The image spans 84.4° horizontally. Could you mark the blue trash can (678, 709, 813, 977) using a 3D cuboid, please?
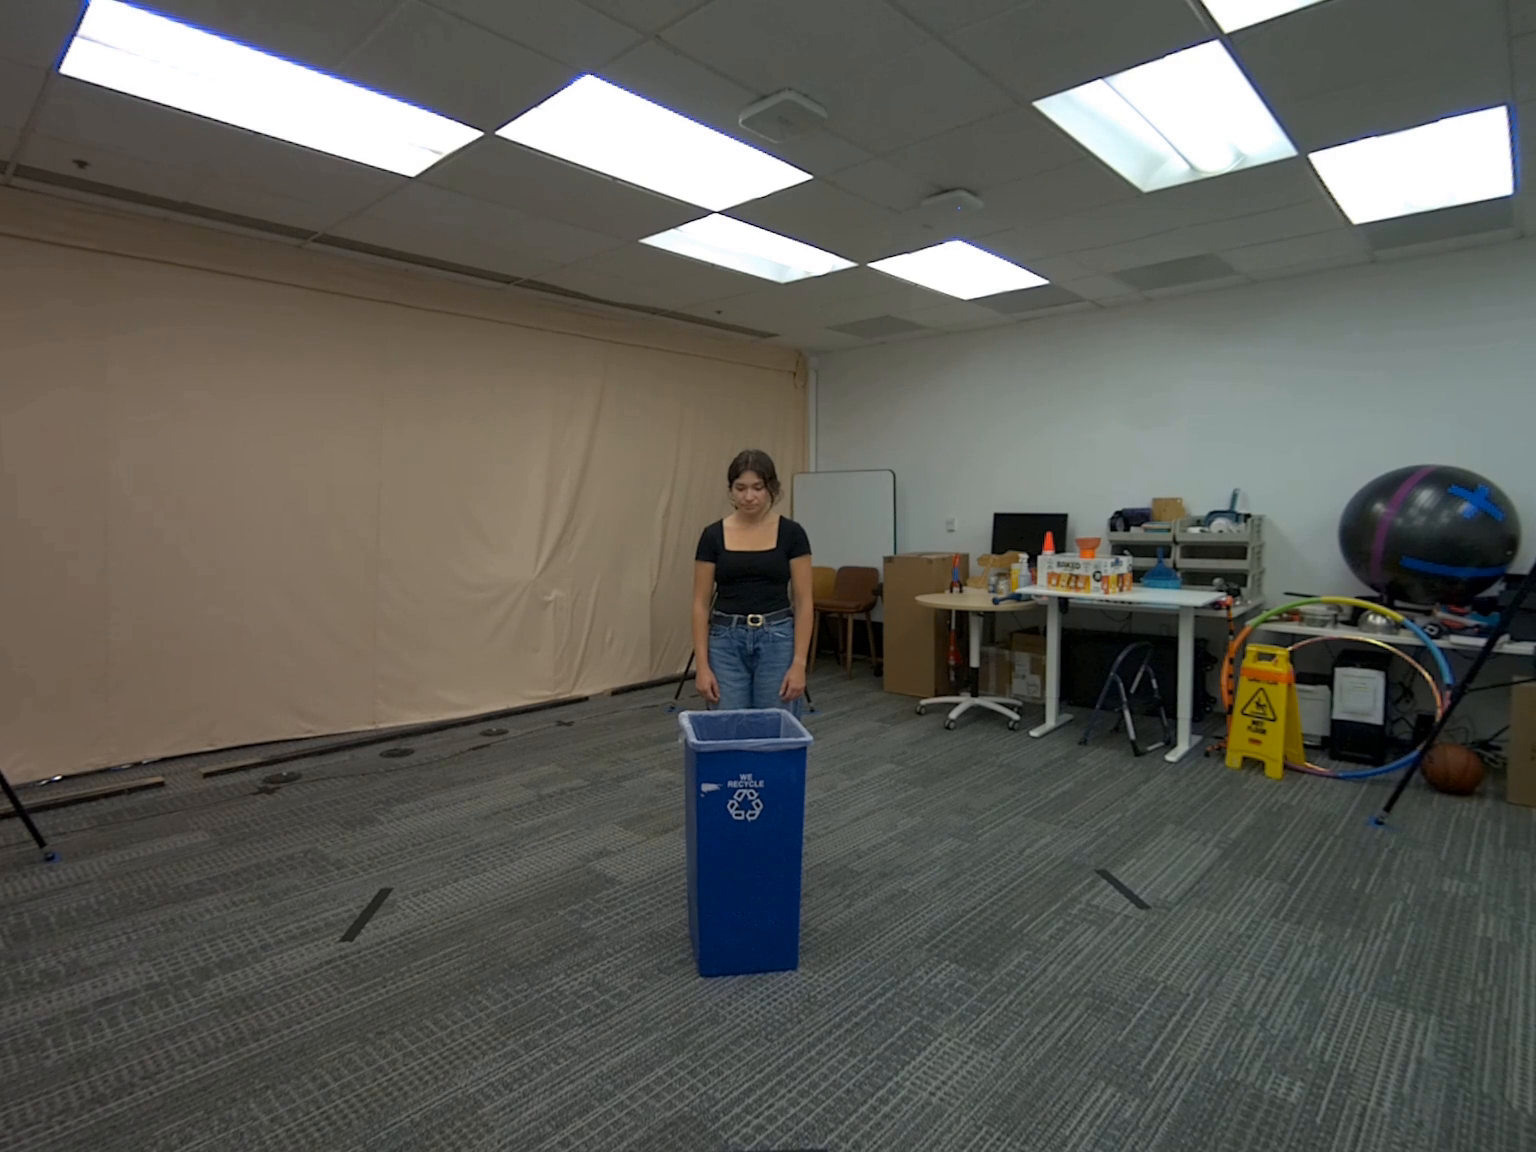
[{"bbox_3d":[-0.081,0.815,2.638,0.370,0.712,0.383,-1,4,-11],"label":"blue trash can"}]
